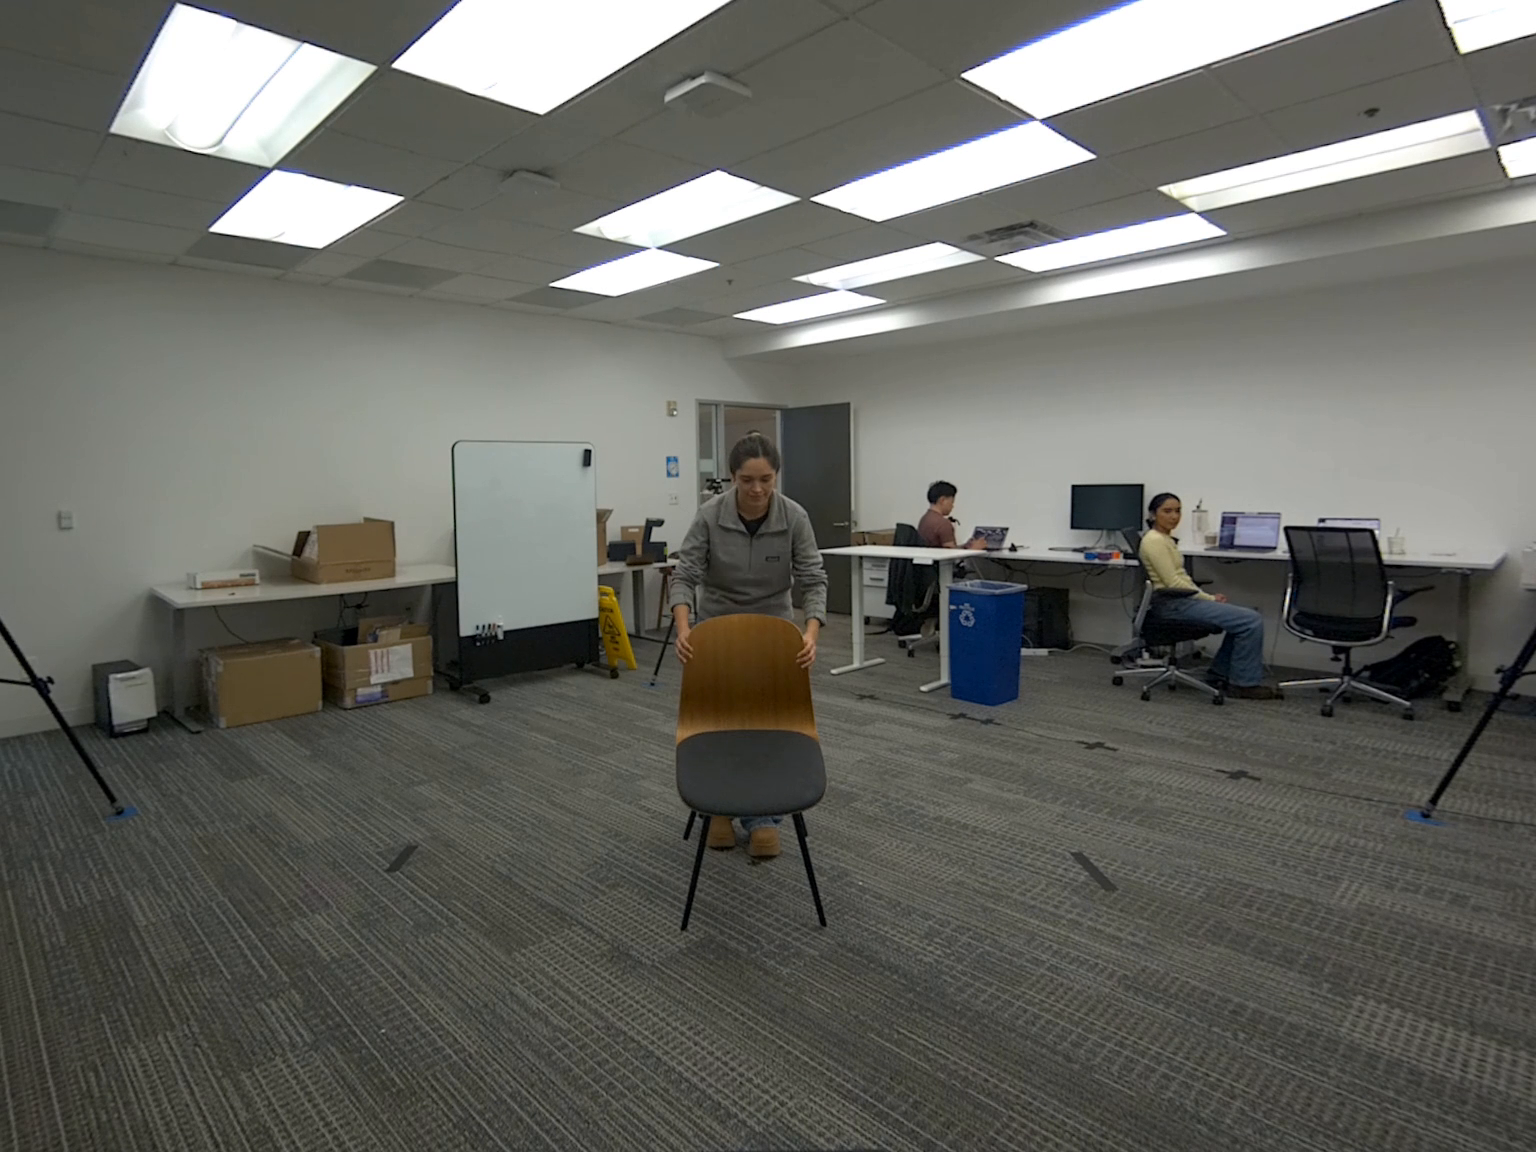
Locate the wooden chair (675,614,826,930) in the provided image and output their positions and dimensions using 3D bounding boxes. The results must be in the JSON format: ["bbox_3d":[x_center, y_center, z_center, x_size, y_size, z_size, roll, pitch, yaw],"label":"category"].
[{"bbox_3d":[-0.059,0.626,2.729,0.477,0.867,0.531,0,14,-3],"label":"wooden chair"}]
